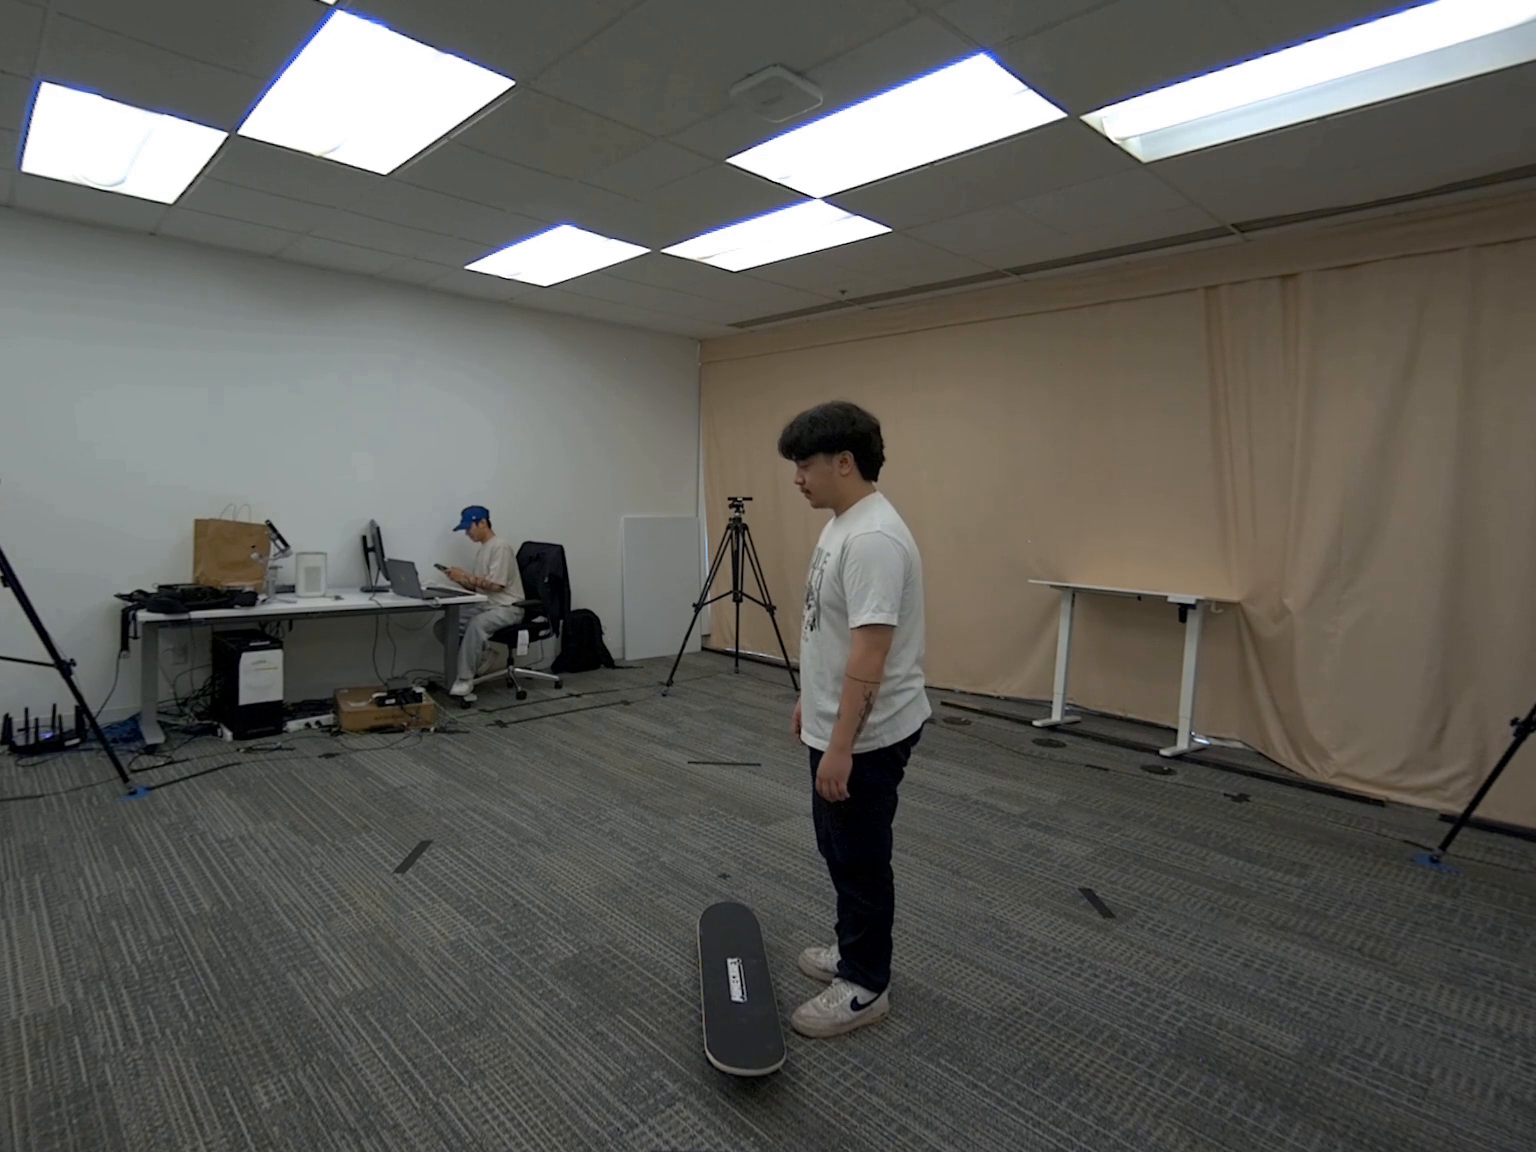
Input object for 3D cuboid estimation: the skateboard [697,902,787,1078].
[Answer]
[{"bbox_3d":[-0.092,1.123,2.292,0.192,0.110,0.791,1,6,-6],"label":"skateboard"}]
